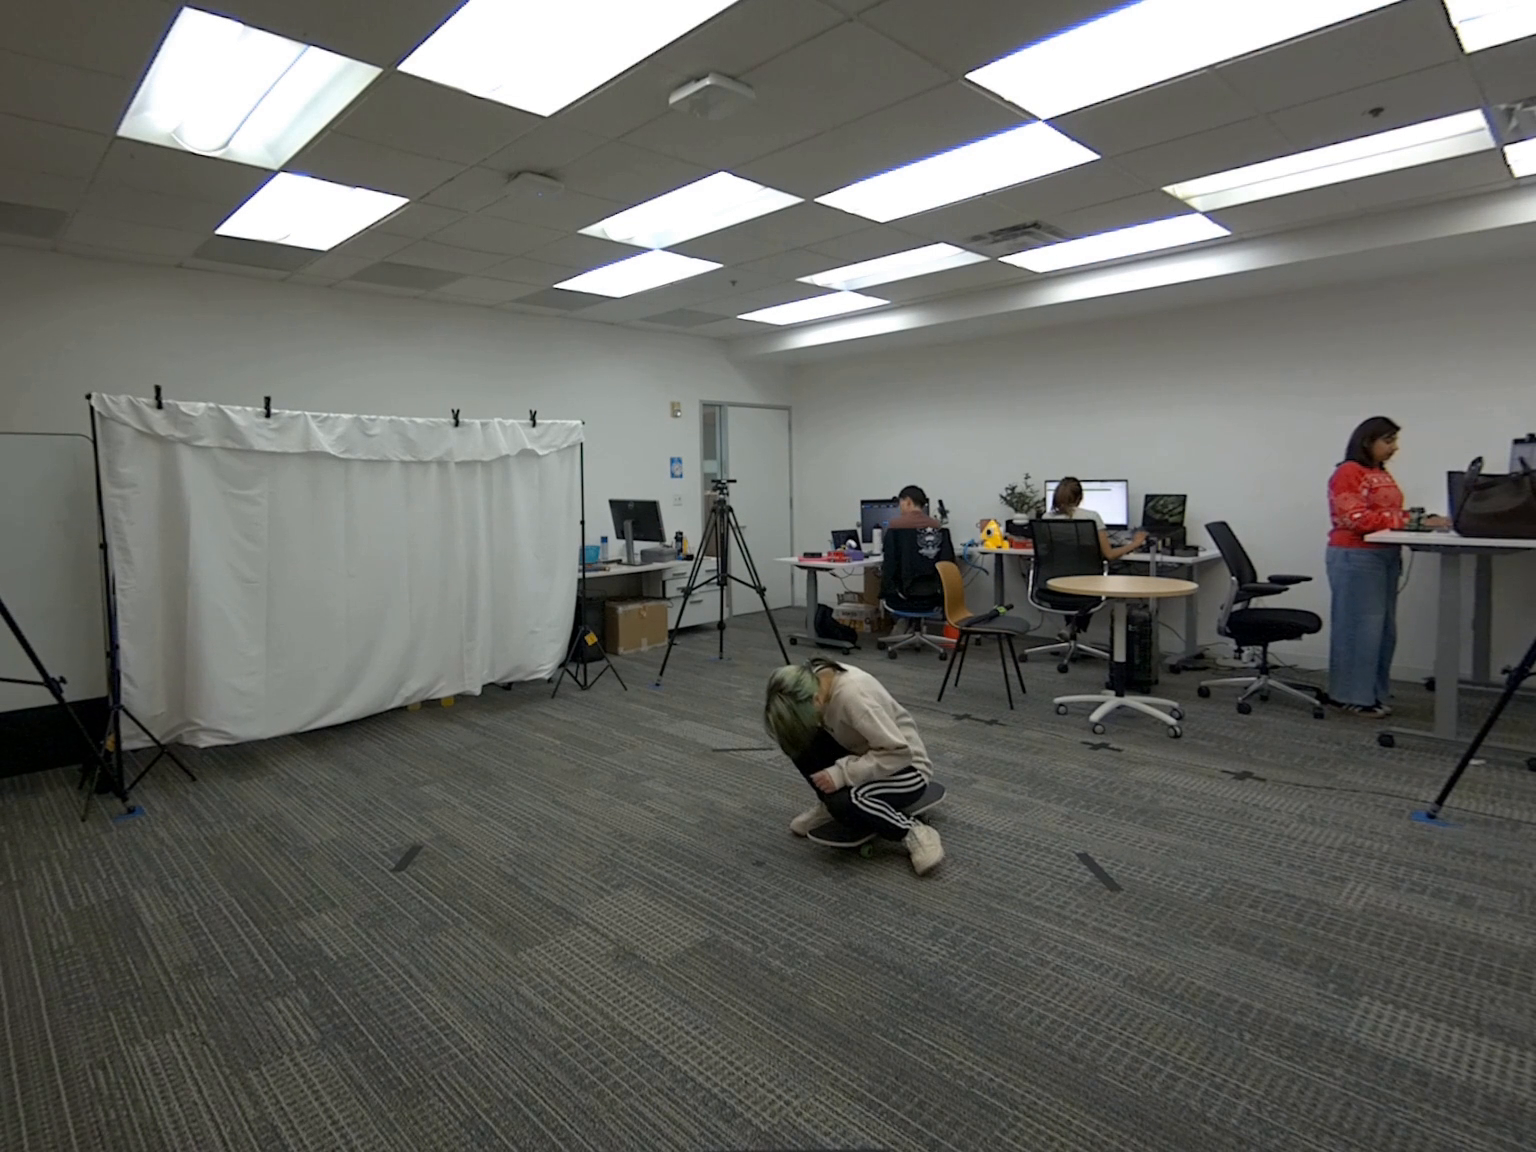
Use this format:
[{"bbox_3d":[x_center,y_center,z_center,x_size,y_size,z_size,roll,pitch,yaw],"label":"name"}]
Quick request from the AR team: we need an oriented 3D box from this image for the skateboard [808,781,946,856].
[{"bbox_3d":[0.443,0.957,3.327,0.199,0.110,0.765,4,7,44],"label":"skateboard"}]
